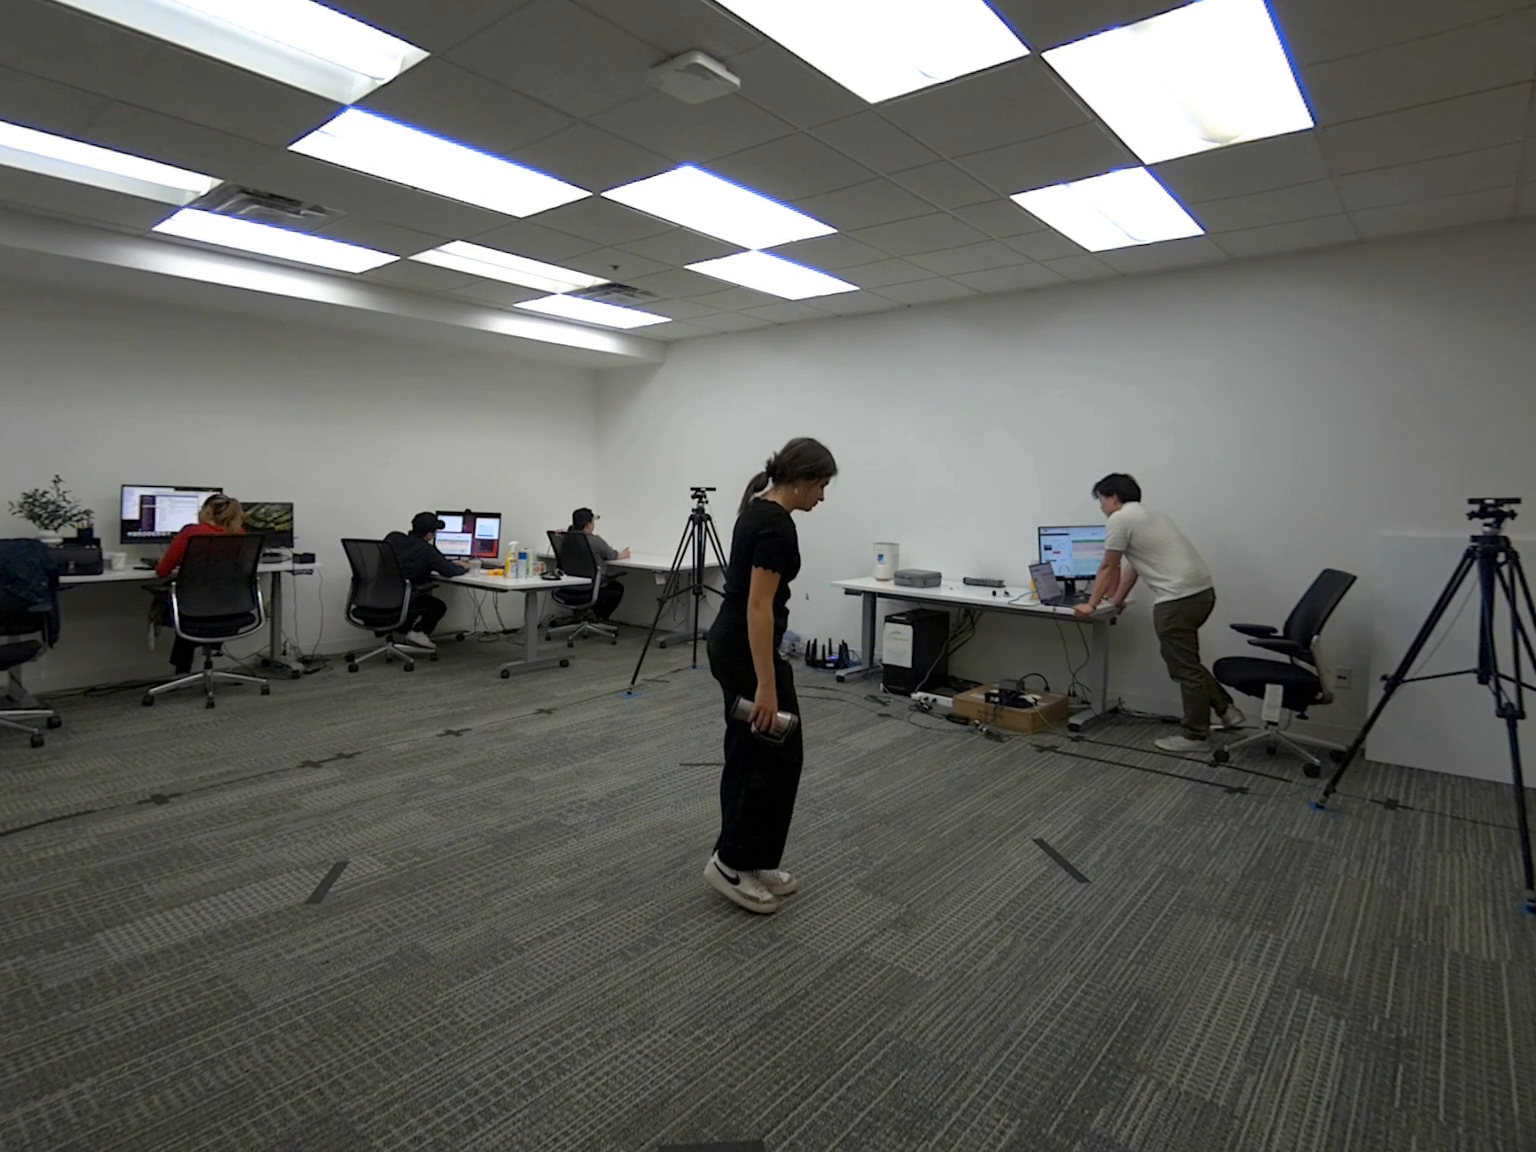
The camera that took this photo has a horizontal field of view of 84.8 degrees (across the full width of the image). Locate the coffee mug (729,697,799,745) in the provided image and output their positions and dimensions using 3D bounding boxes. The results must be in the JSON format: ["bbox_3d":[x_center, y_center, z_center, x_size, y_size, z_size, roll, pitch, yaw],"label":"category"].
[{"bbox_3d":[-0.014,0.455,2.674,0.202,0.087,0.123,22,21,-3],"label":"coffee mug"}]
